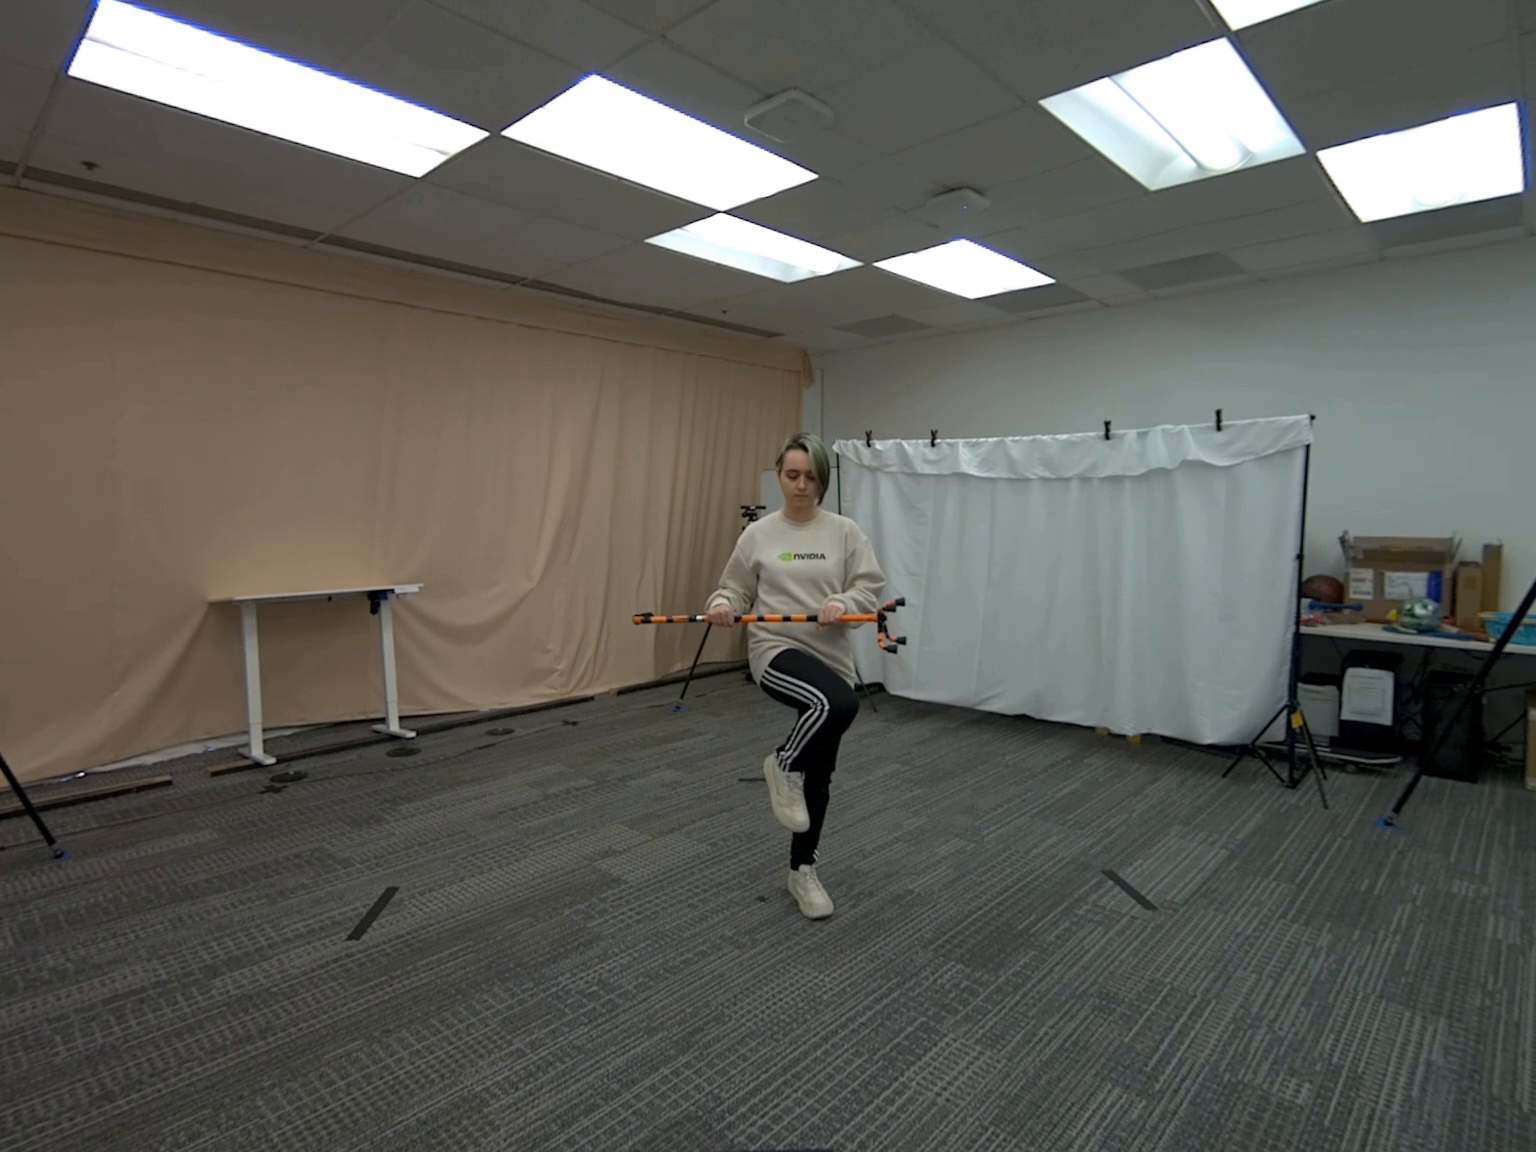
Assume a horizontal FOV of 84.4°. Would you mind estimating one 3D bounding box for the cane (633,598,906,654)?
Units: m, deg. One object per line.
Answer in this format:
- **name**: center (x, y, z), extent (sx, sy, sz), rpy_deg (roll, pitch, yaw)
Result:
- **cane**: center (-0.037, 0.158, 2.722), extent (0.928, 0.151, 0.202), rpy_deg (-1, 3, 21)
